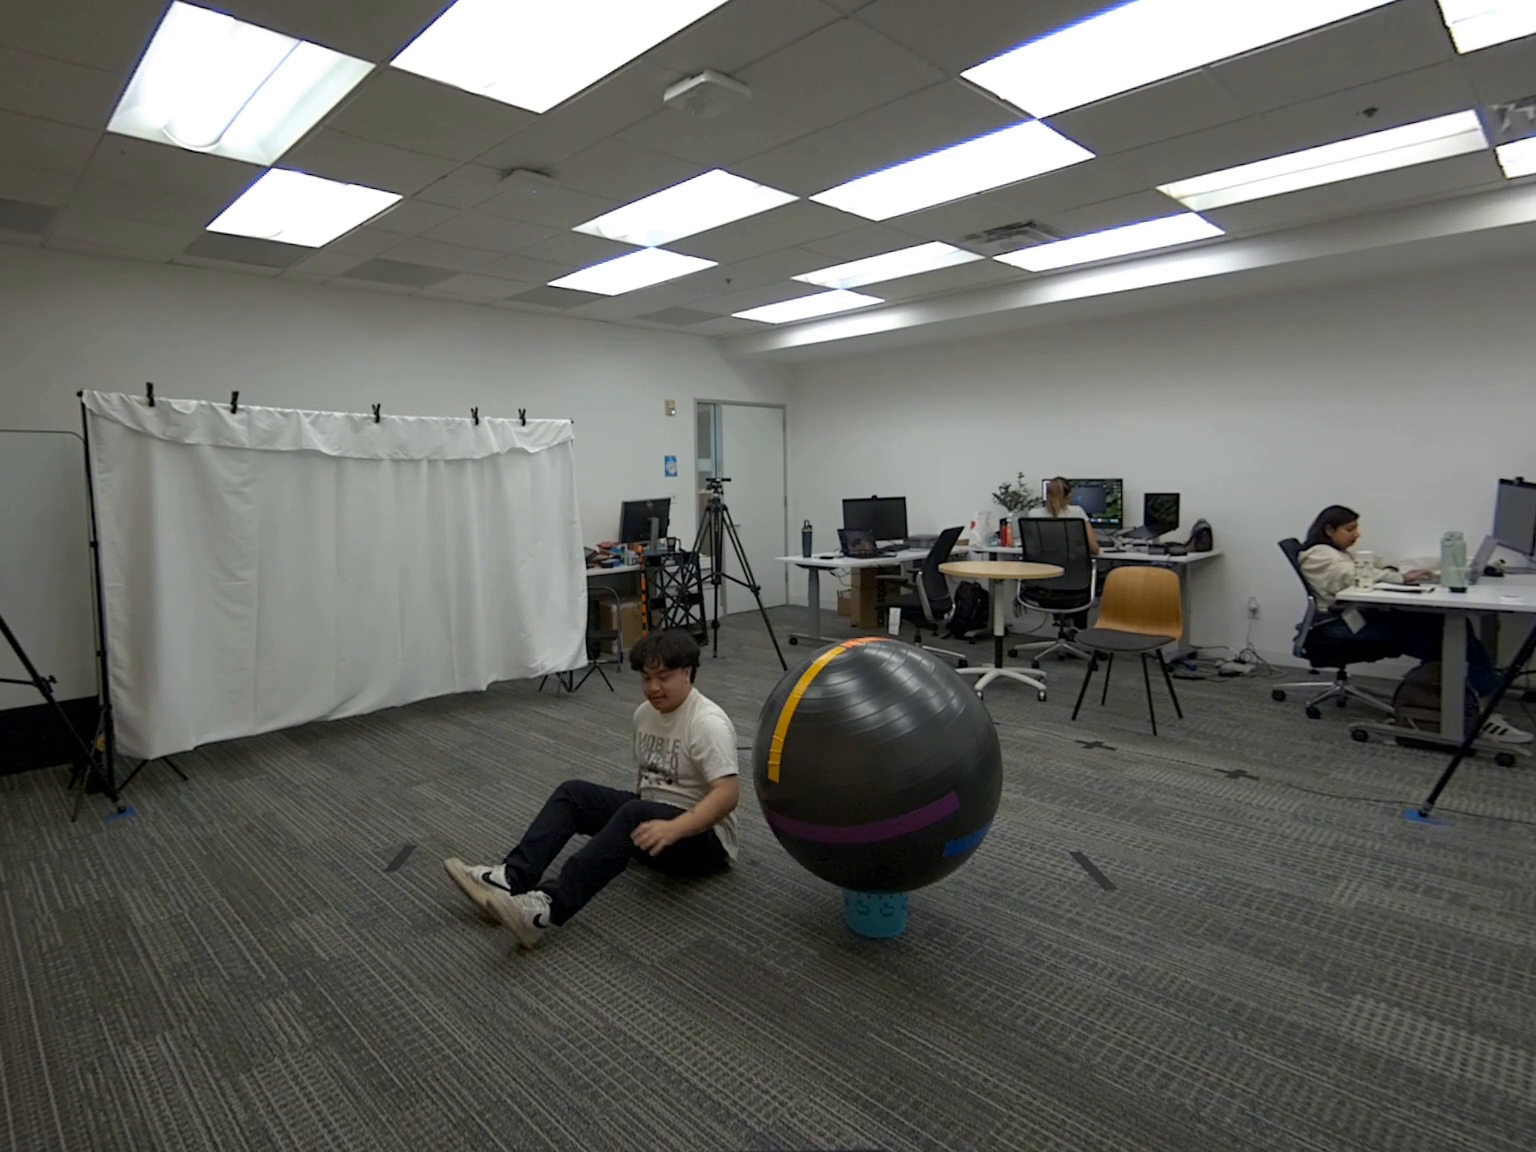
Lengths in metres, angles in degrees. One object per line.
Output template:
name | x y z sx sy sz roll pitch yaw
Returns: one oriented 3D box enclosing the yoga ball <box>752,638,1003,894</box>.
yoga ball | 0.350 0.585 2.620 0.757 0.755 0.762 -1 5 -2
